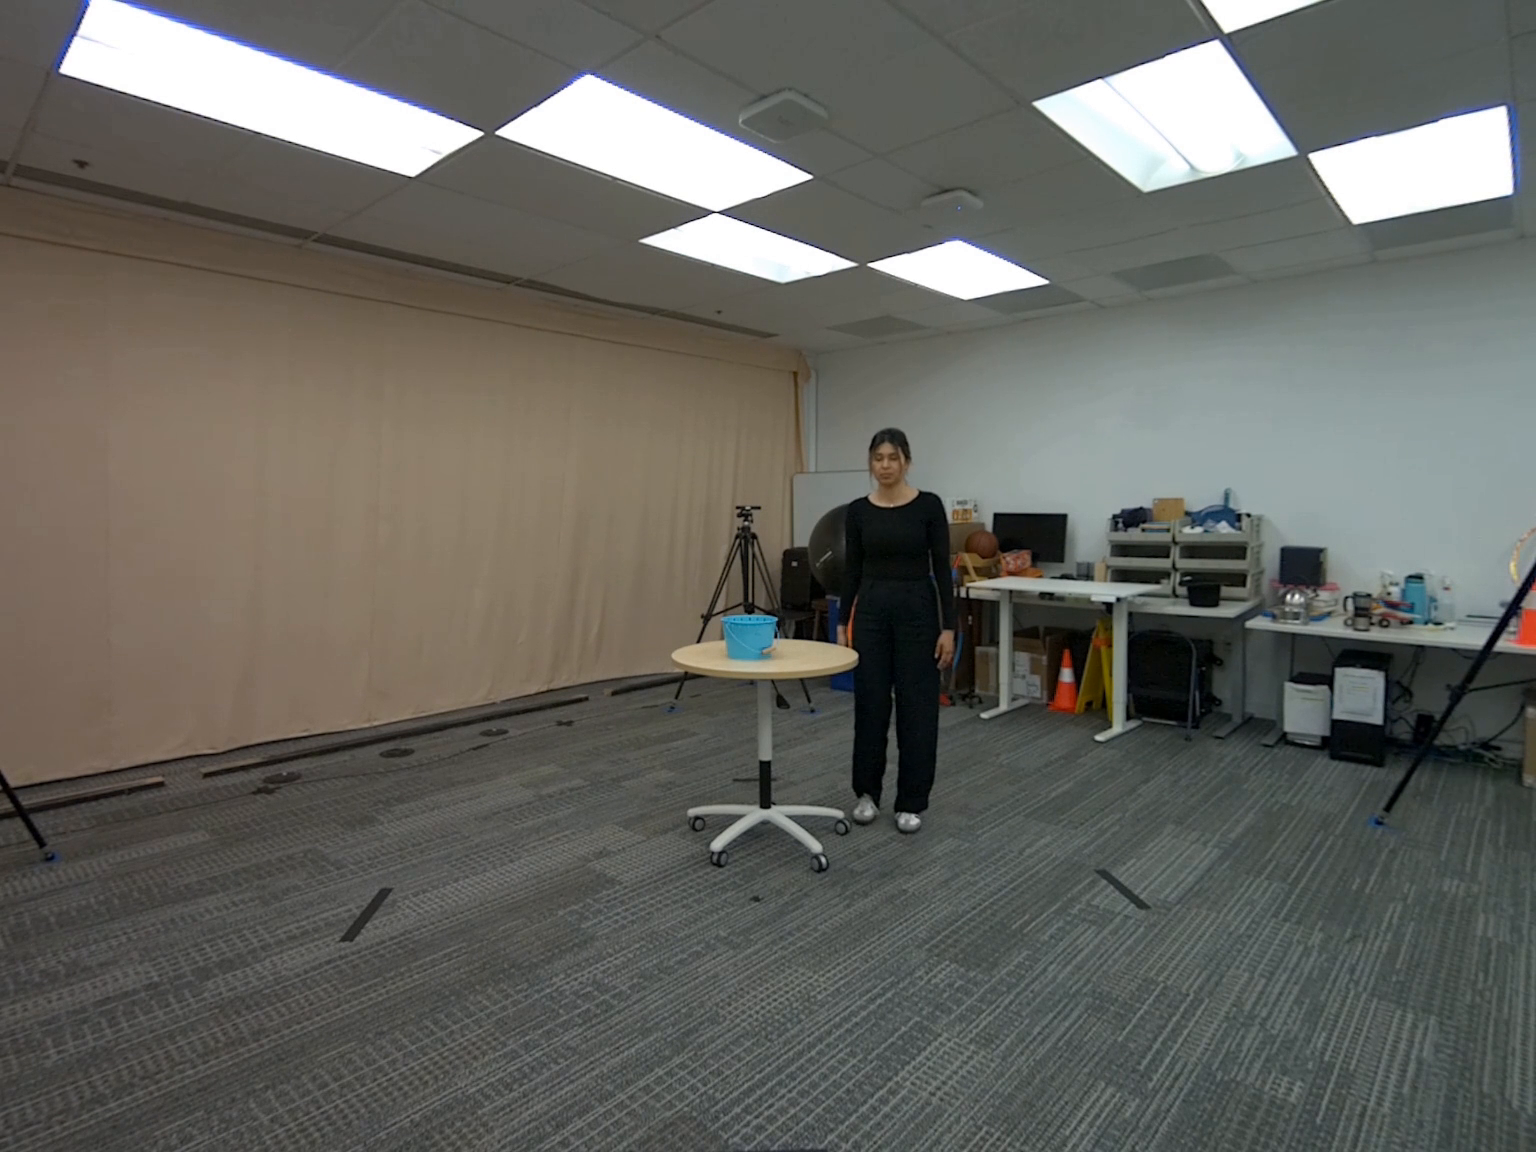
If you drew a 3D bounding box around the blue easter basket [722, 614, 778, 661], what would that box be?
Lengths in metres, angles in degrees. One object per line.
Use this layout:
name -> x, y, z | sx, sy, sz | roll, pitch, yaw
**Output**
blue easter basket -> -0.077, 0.254, 3.416 | 0.243, 0.155, 0.244 | 0, 4, -2
